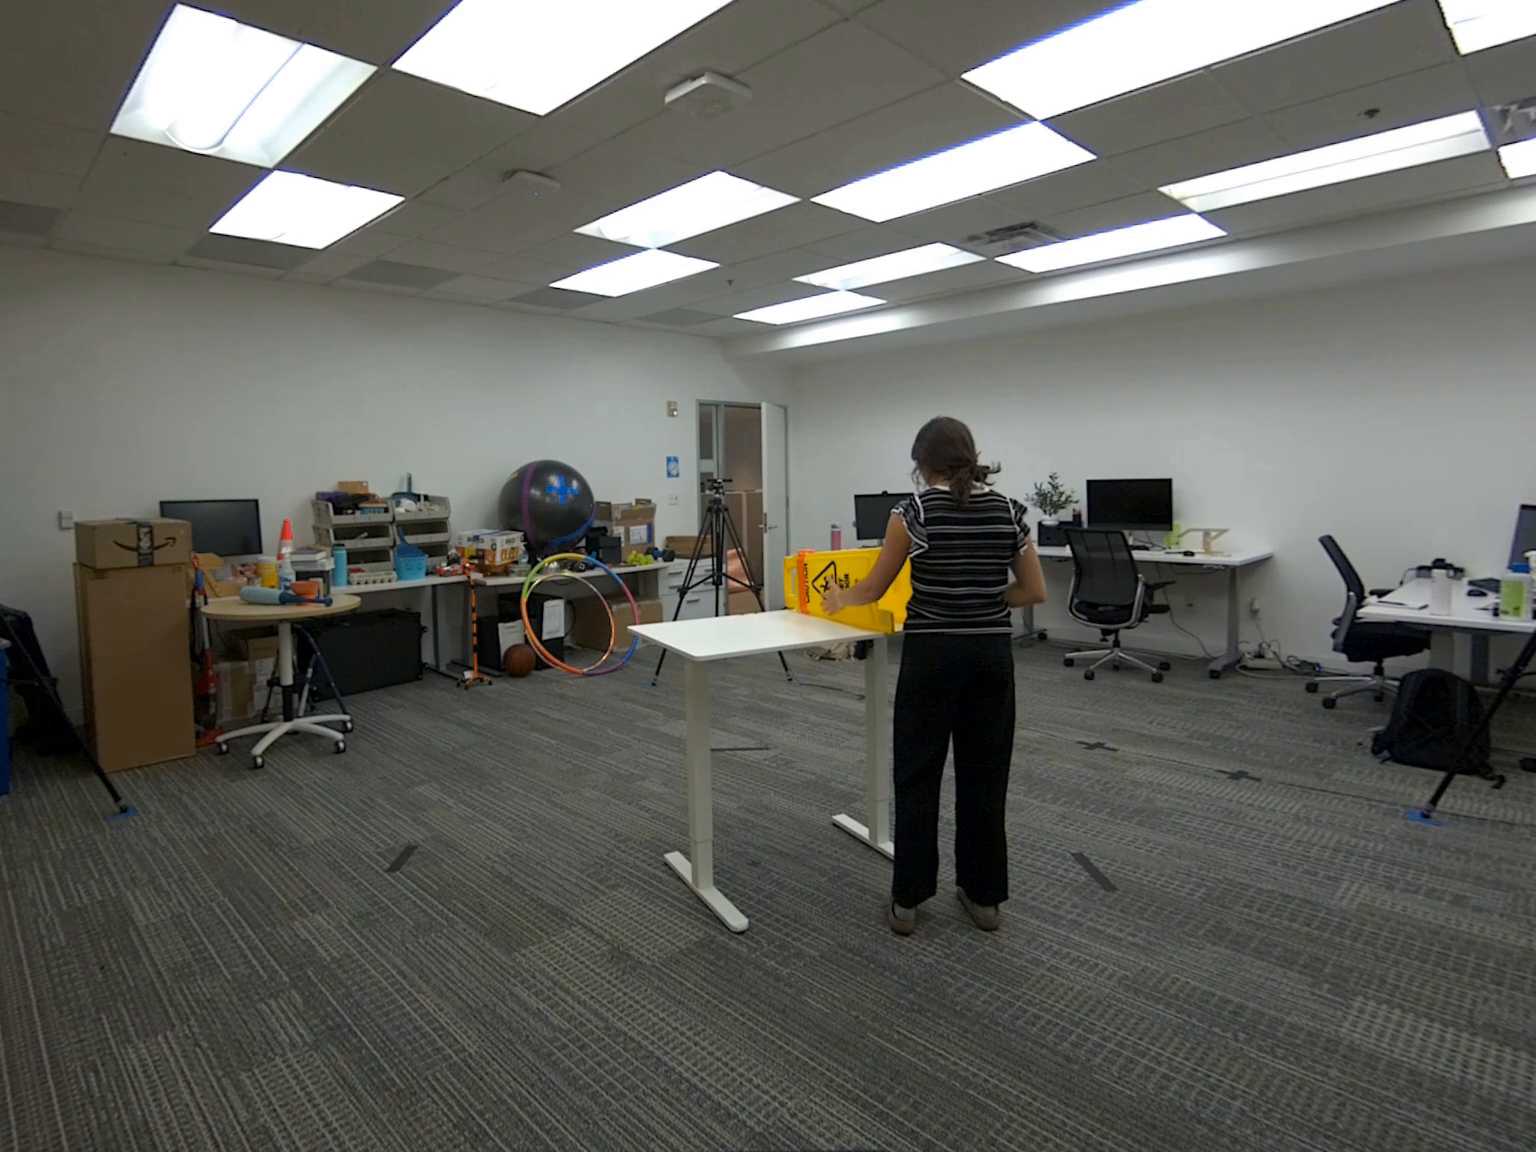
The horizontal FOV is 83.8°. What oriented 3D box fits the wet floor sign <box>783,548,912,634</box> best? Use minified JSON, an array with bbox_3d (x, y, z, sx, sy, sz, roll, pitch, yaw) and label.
[{"bbox_3d":[0.271,0.033,3.094,0.282,0.282,0.664,-4,4,-39],"label":"wet floor sign"}]
